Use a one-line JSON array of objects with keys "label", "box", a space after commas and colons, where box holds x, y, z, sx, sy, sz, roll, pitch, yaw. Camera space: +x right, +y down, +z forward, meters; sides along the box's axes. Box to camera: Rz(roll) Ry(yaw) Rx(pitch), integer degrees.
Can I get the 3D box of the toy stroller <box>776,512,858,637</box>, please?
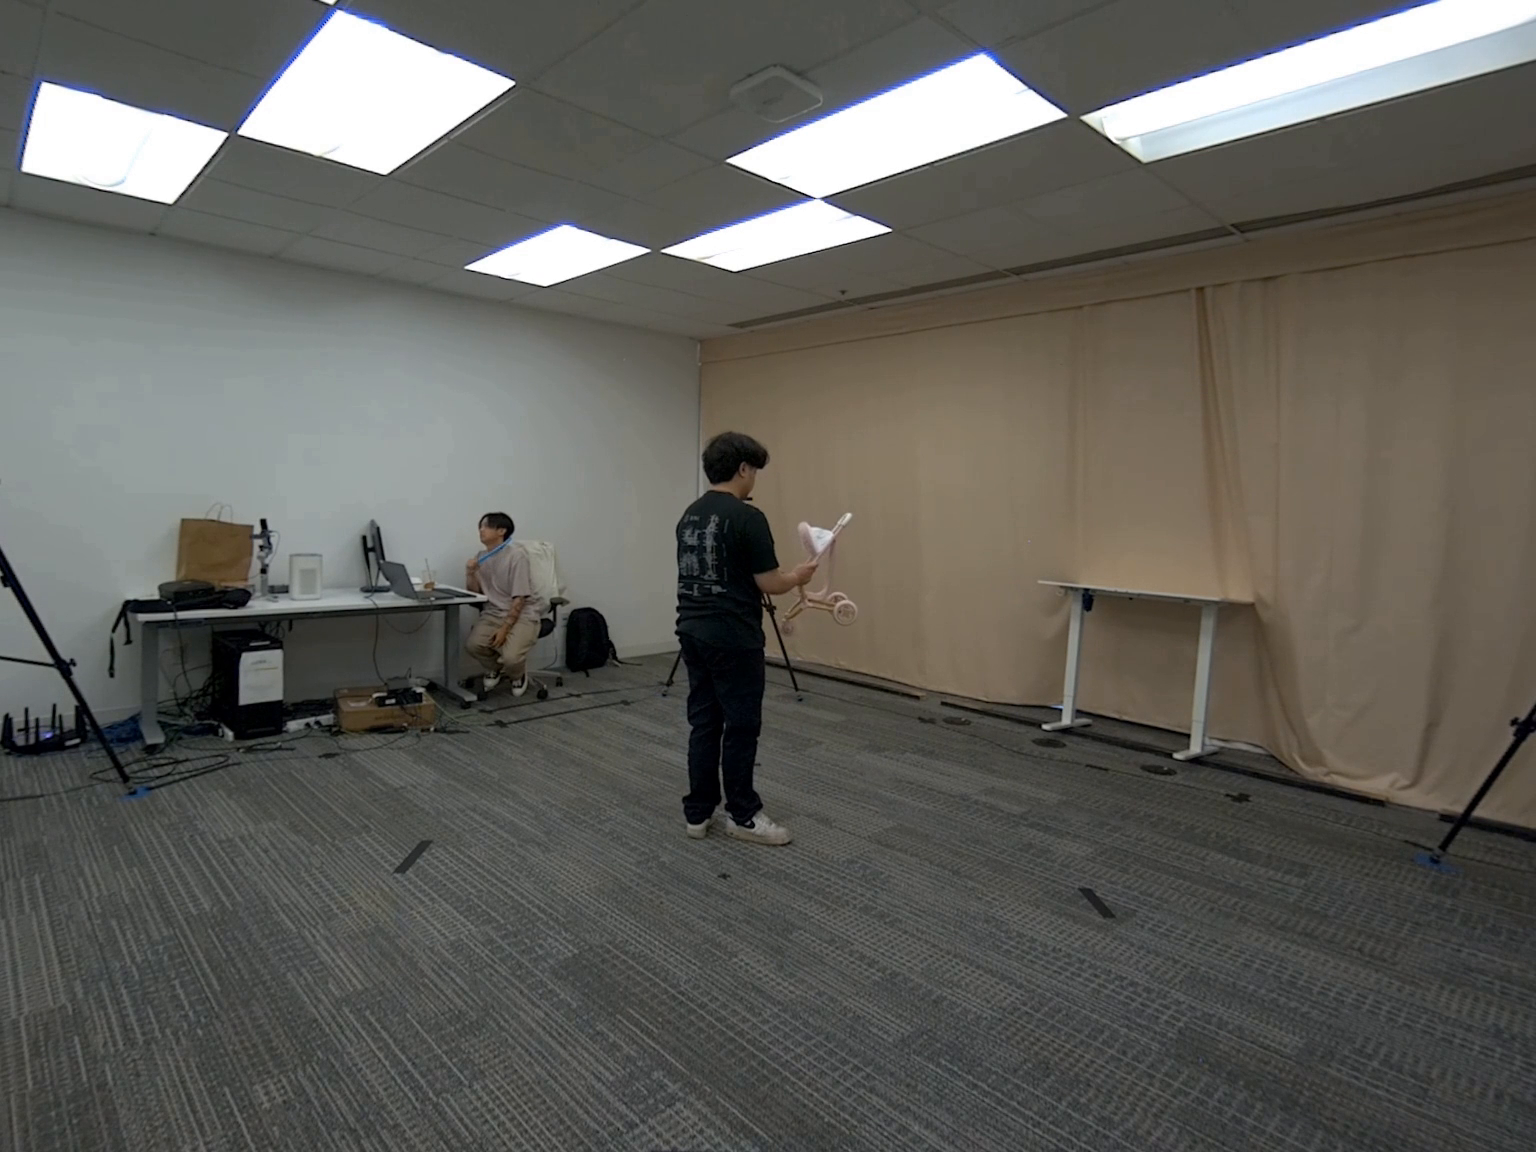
[{"label": "toy stroller", "box": [0.200, -0.004, 3.741, 0.342, 0.532, 0.282, -2, 6, 3]}]
